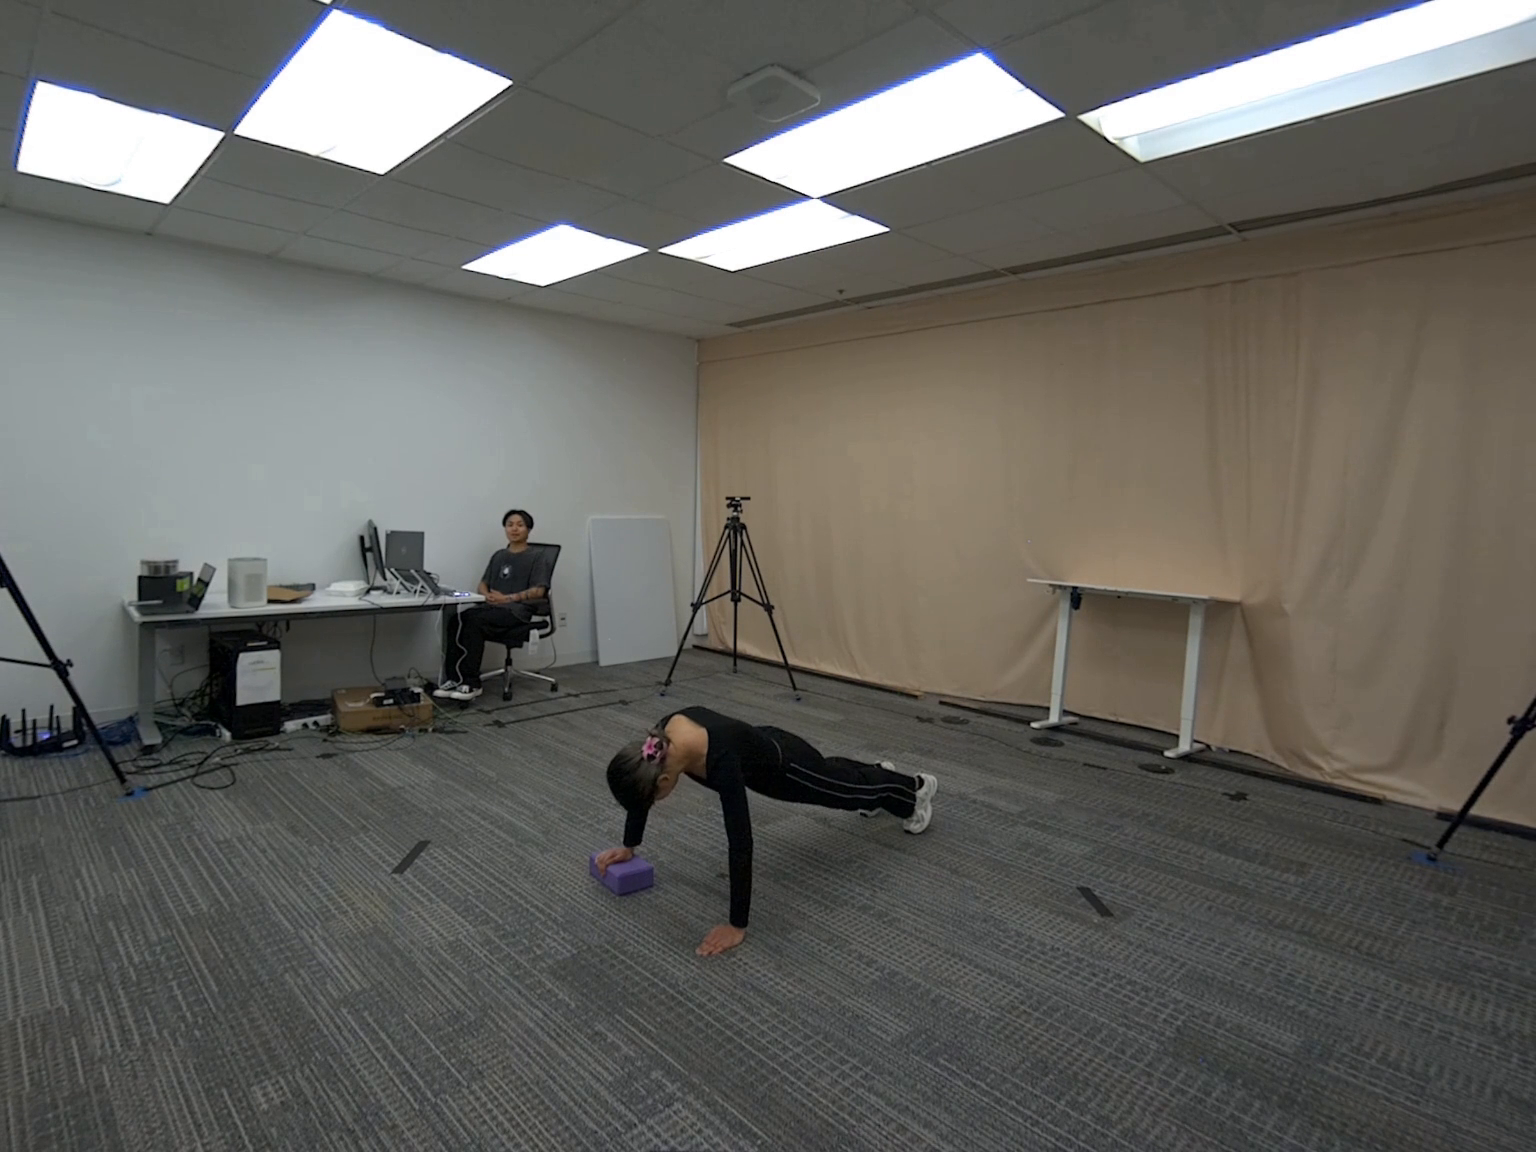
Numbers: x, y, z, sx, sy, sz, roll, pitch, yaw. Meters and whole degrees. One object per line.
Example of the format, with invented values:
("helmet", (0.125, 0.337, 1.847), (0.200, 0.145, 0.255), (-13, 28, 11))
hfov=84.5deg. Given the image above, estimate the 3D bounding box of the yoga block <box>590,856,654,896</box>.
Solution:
("yoga block", (-0.537, 1.067, 3.050), (0.146, 0.076, 0.235), (-3, 5, -37))
